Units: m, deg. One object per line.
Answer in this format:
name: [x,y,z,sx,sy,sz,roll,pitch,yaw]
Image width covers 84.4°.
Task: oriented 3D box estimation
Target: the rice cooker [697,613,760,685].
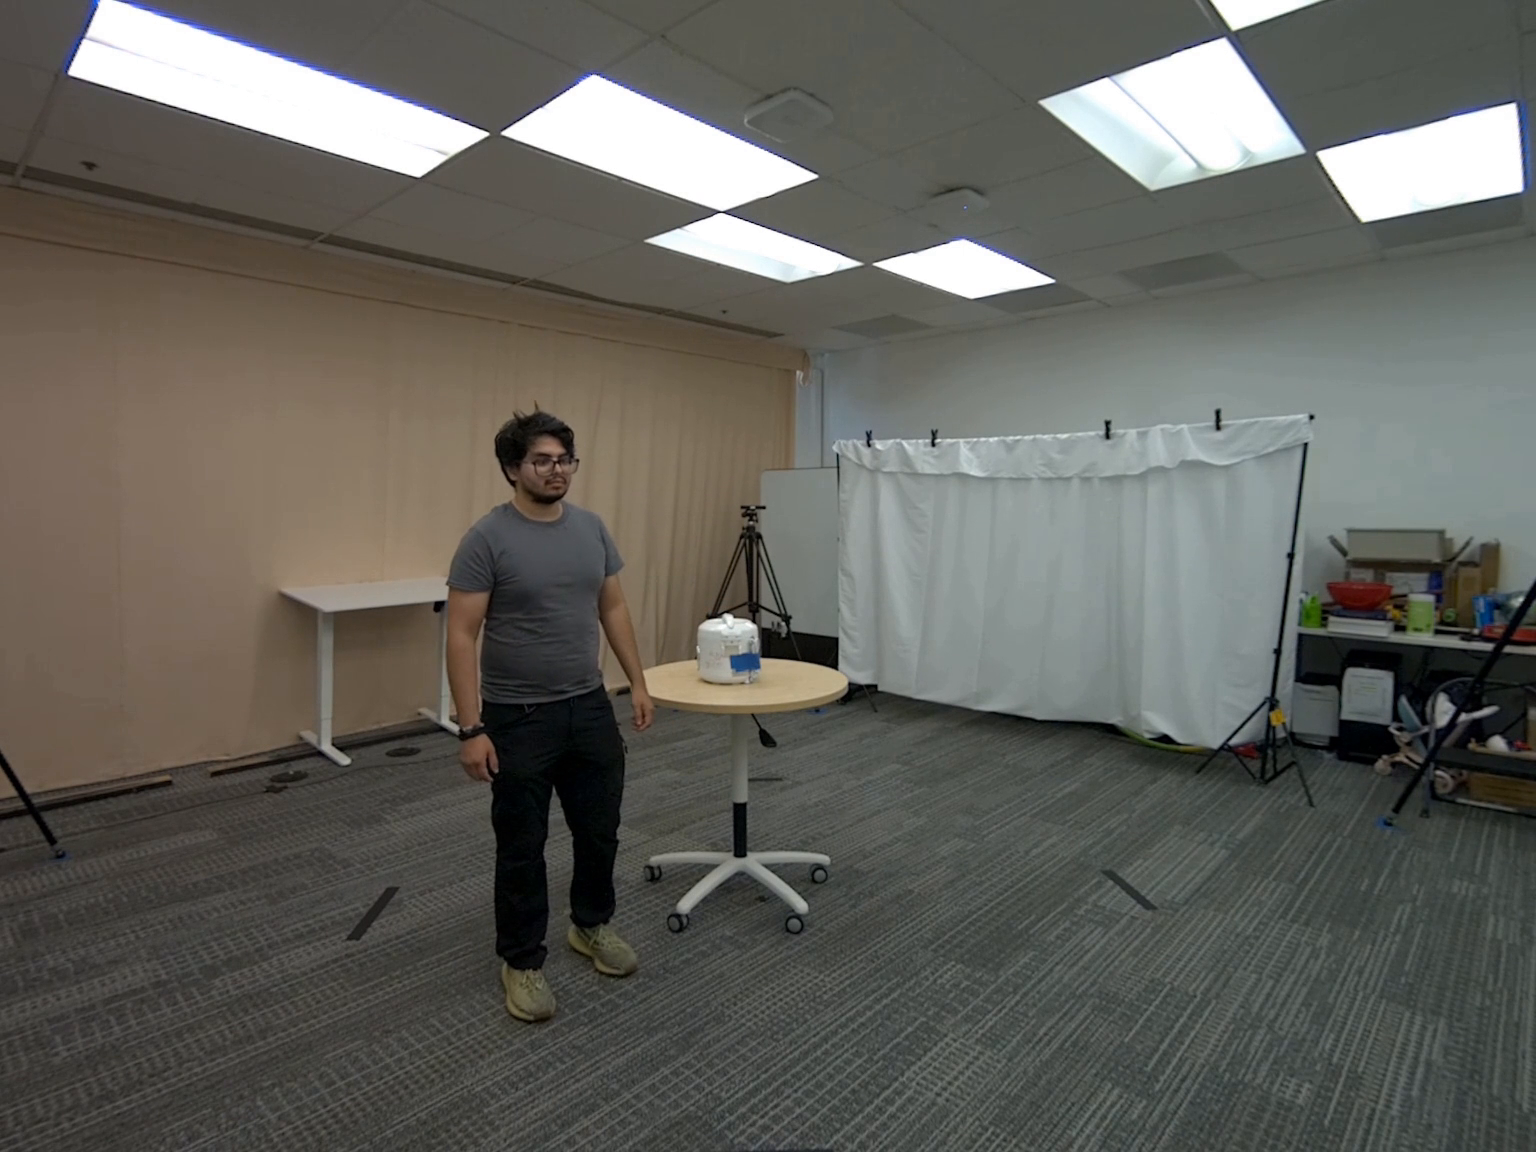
rice cooker: [-0.139,0.251,2.955,0.216,0.232,0.223,-1,4,-8]
